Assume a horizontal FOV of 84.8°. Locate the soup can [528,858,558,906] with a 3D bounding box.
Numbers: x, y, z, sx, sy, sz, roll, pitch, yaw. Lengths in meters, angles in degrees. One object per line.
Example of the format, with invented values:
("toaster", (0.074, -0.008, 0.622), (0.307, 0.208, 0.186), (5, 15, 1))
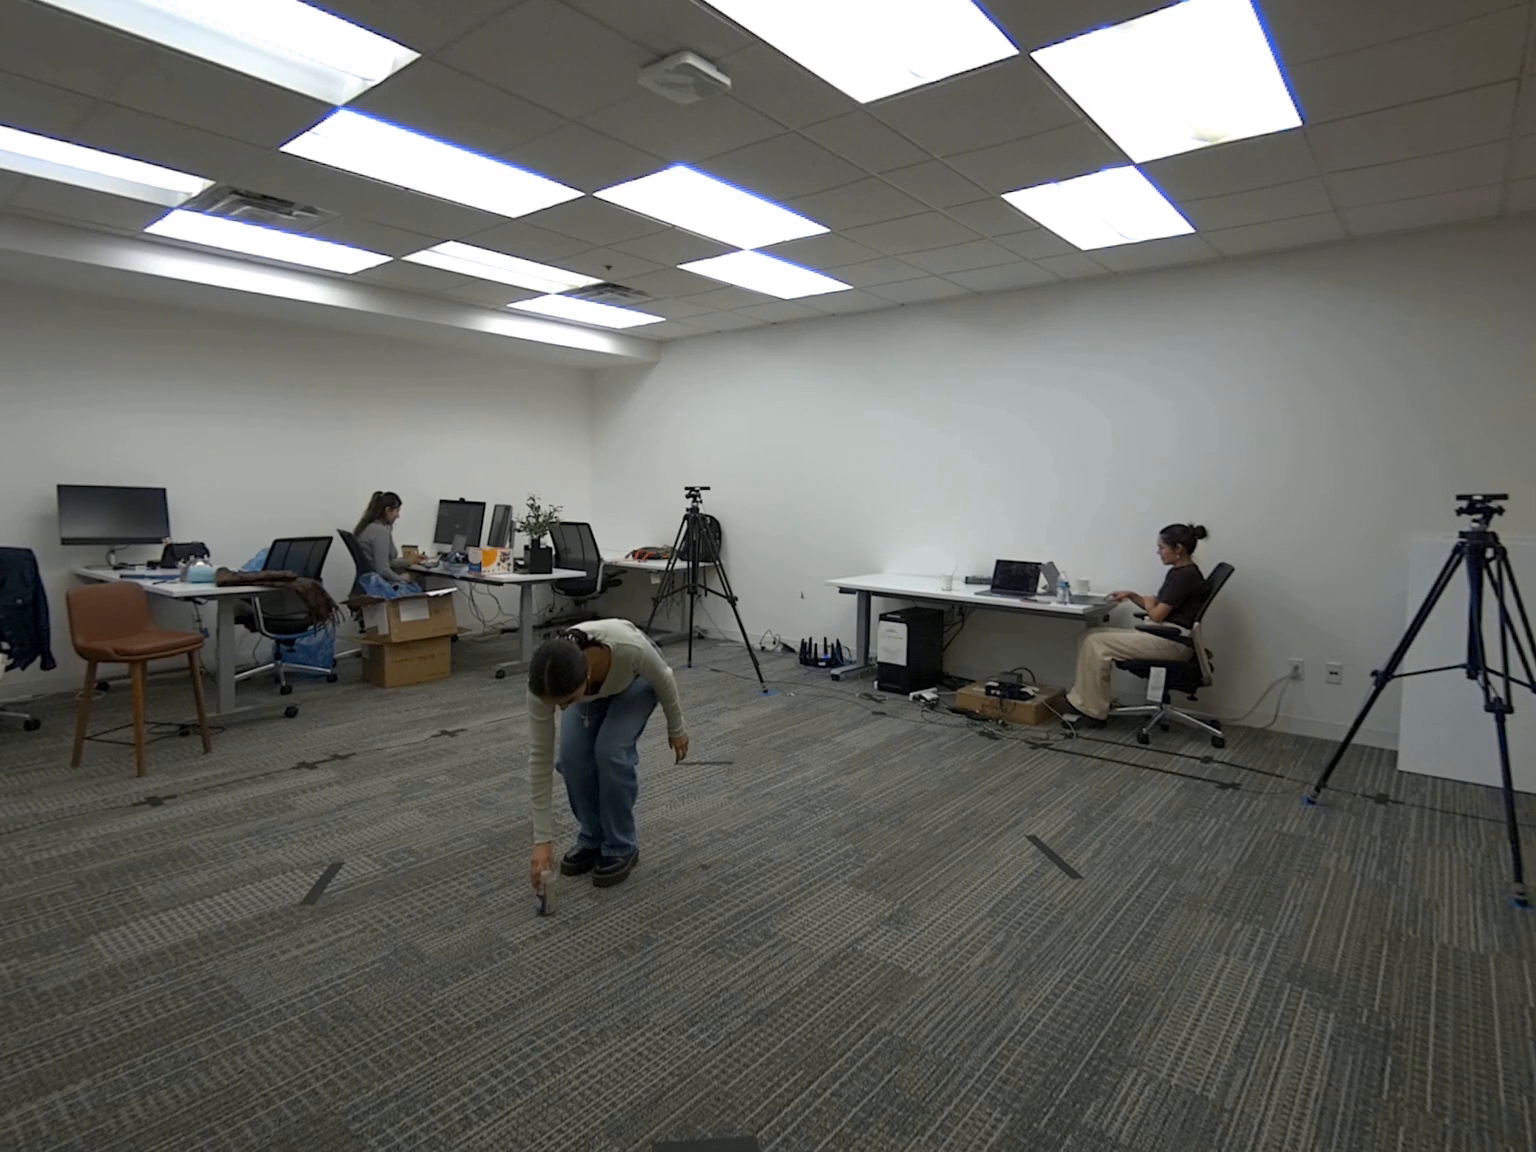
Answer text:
("soup can", (-0.741, 1.003, 2.762), (0.067, 0.121, 0.067), (-5, 5, -1))
